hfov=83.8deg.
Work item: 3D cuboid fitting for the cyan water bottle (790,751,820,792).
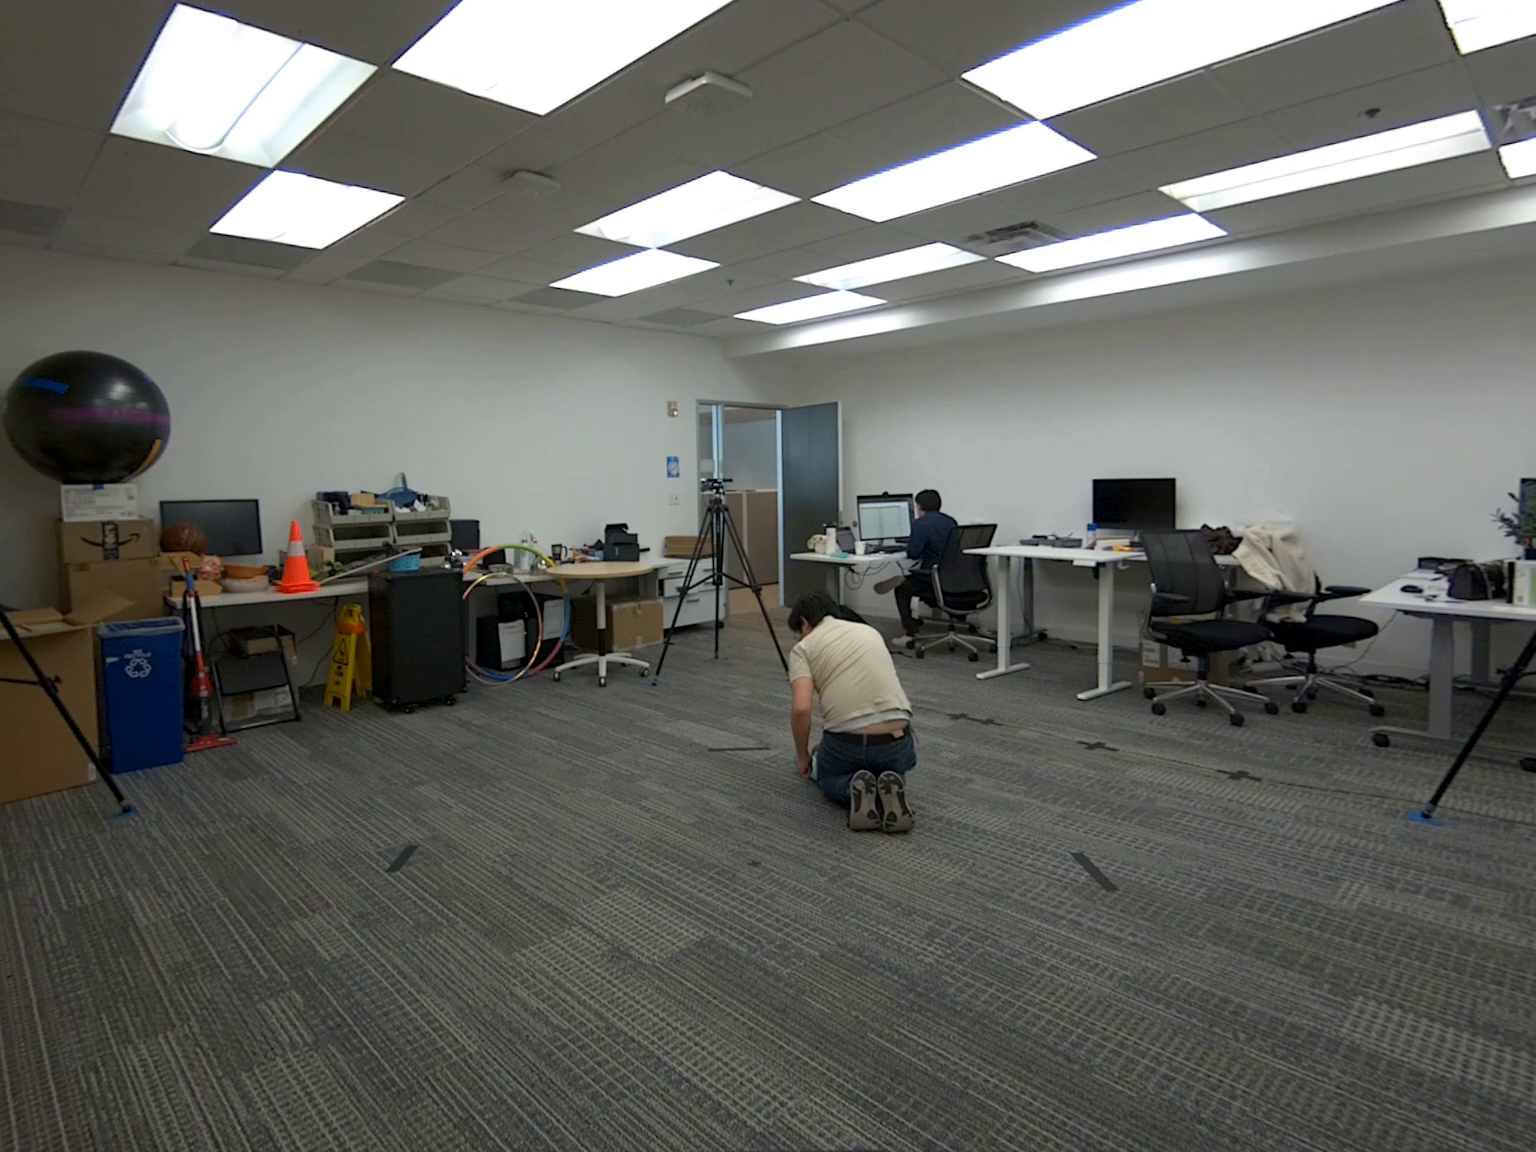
[{"bbox_3d":[0.203,0.901,3.989,0.090,0.092,0.290,-3,7,-22],"label":"cyan water bottle"}]
